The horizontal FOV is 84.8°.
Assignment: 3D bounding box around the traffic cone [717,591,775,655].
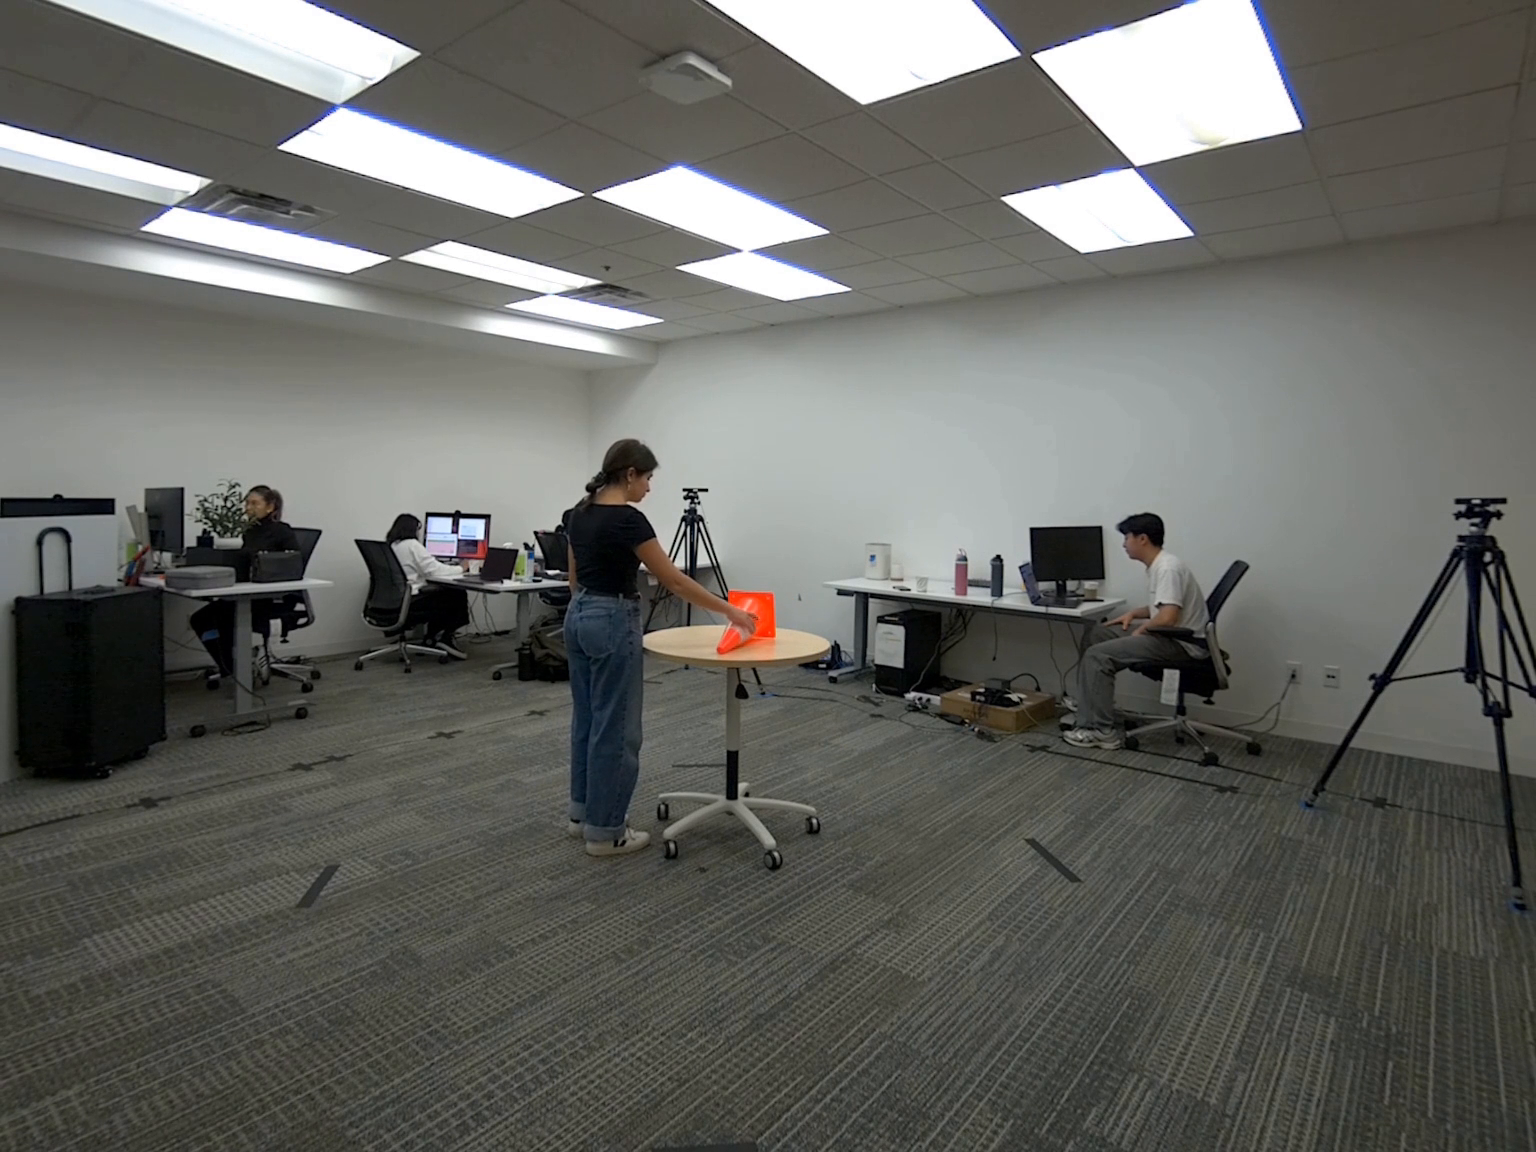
[{"bbox_3d":[-0.127,0.214,3.314,0.208,0.201,0.382,3,19,18],"label":"traffic cone"}]
